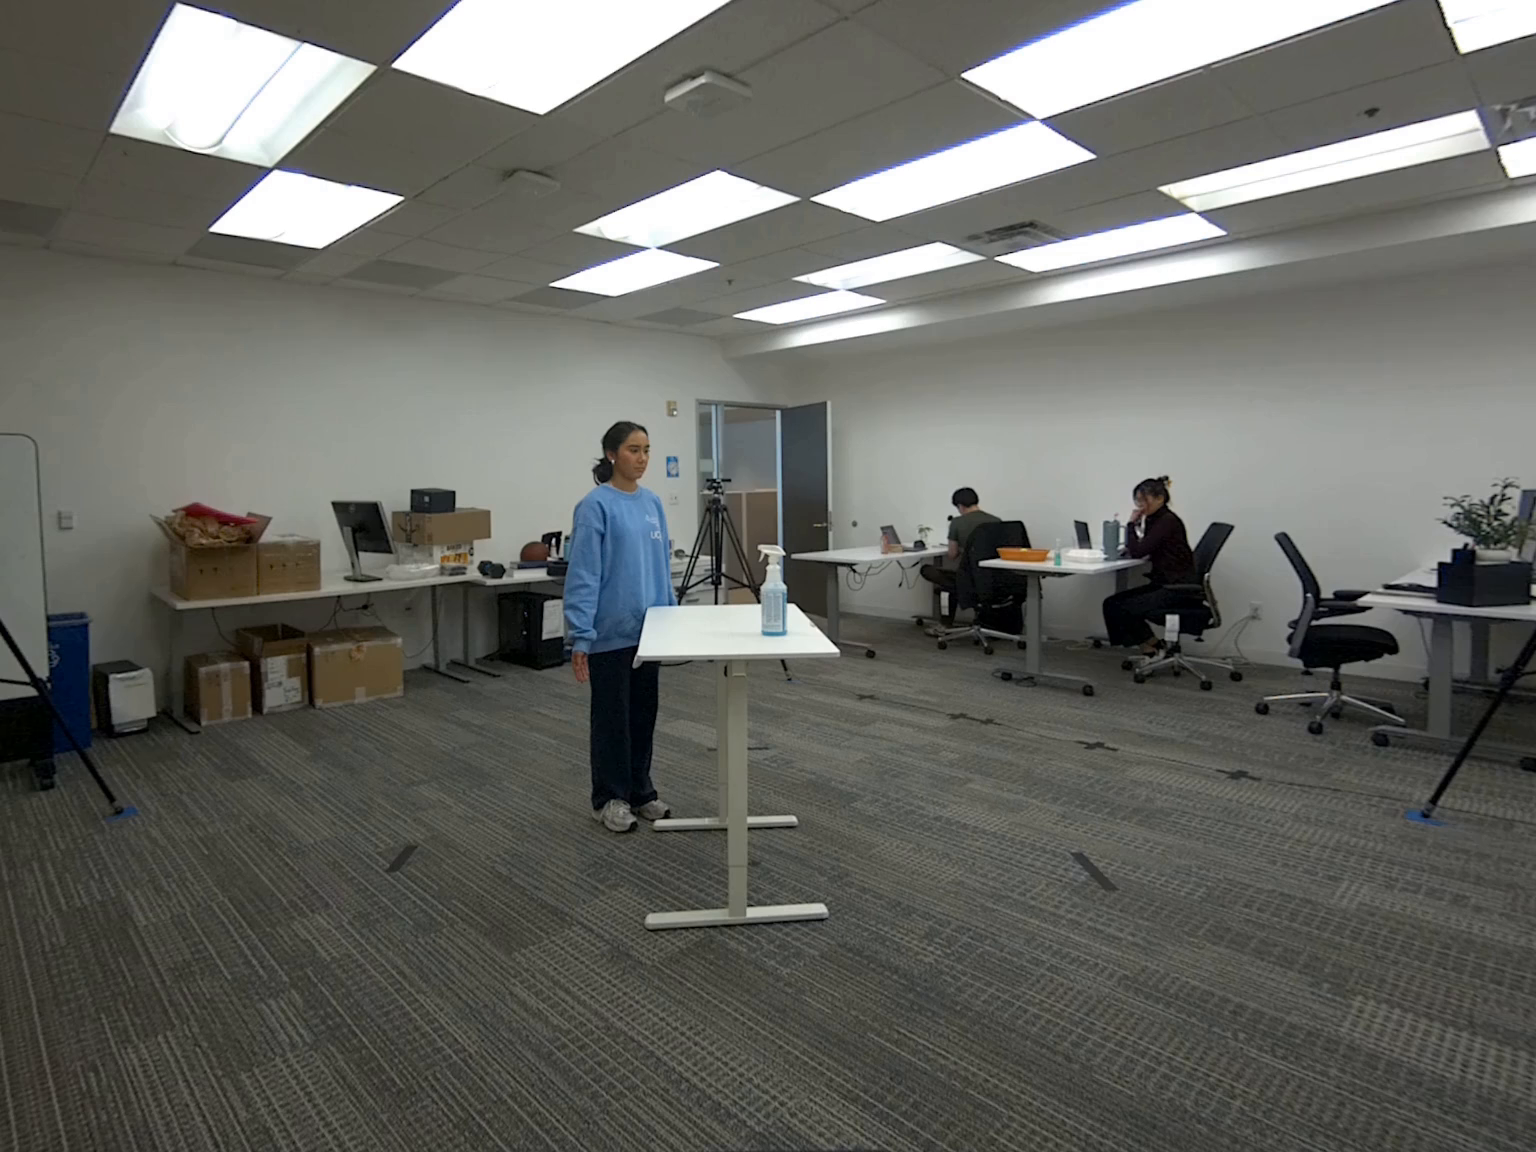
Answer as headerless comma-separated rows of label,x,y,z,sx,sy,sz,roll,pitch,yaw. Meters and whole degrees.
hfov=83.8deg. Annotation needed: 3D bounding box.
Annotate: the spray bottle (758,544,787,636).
spray bottle,0.024,0.048,2.825,0.093,0.296,0.085,4,7,42
